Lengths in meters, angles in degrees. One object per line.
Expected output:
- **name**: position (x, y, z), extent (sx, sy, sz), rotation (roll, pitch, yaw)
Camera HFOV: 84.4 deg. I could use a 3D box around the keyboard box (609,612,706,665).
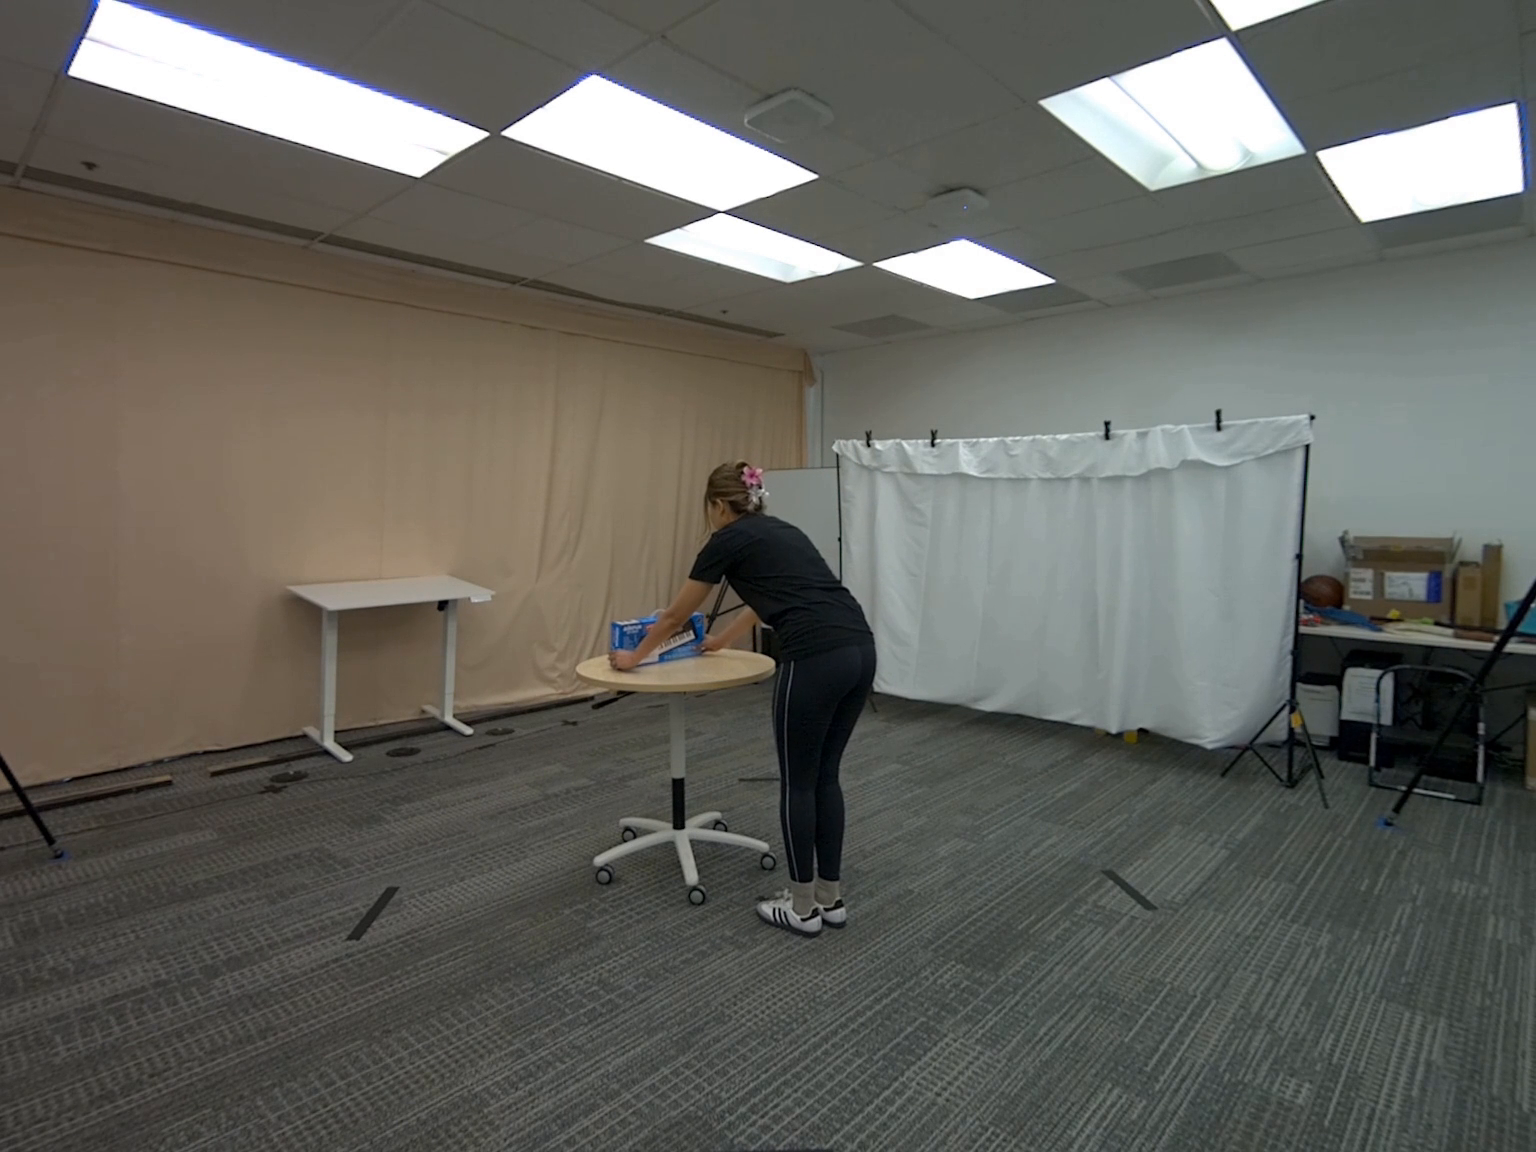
- **keyboard box**: position (-0.430, 0.252, 3.314), extent (0.061, 0.175, 0.423), rotation (10, 11, 41)
